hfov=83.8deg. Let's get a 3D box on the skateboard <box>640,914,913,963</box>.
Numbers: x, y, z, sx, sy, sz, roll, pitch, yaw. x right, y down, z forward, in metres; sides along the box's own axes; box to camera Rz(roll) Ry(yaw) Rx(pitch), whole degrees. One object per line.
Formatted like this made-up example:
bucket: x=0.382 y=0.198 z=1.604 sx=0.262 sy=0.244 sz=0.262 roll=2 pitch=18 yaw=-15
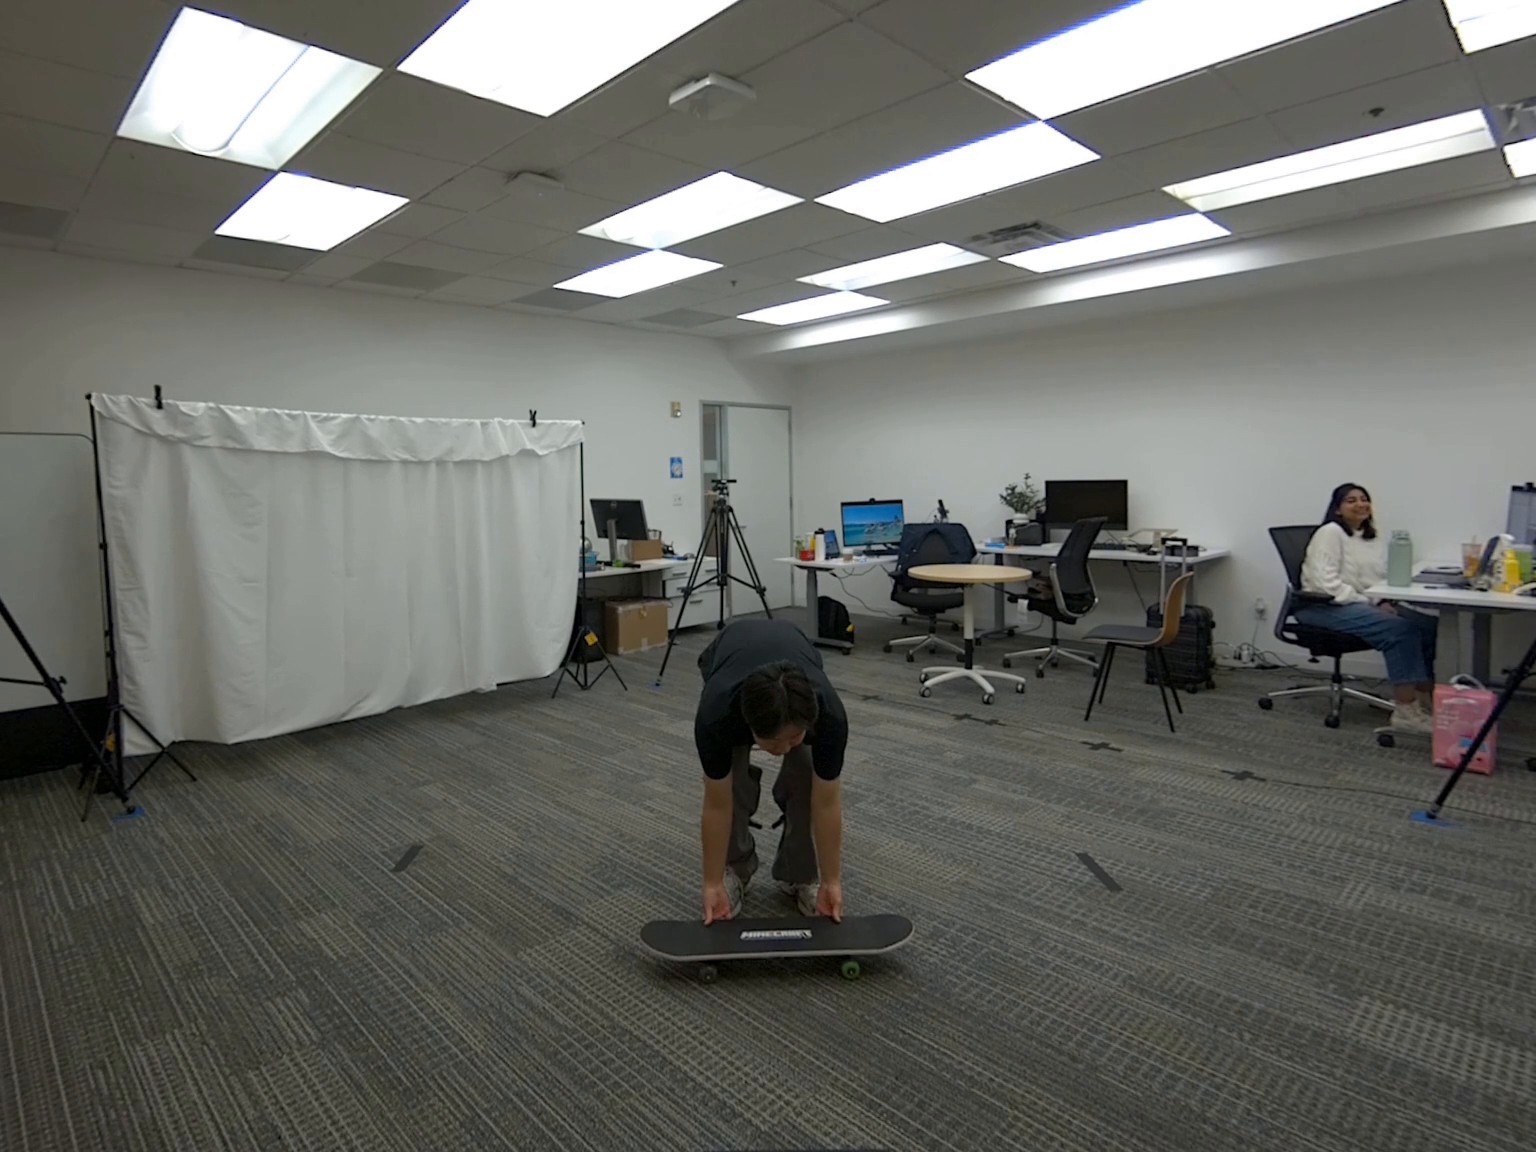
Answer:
skateboard: x=0.026 y=1.050 z=2.457 sx=0.785 sy=0.110 sz=0.194 roll=-1 pitch=6 yaw=0
